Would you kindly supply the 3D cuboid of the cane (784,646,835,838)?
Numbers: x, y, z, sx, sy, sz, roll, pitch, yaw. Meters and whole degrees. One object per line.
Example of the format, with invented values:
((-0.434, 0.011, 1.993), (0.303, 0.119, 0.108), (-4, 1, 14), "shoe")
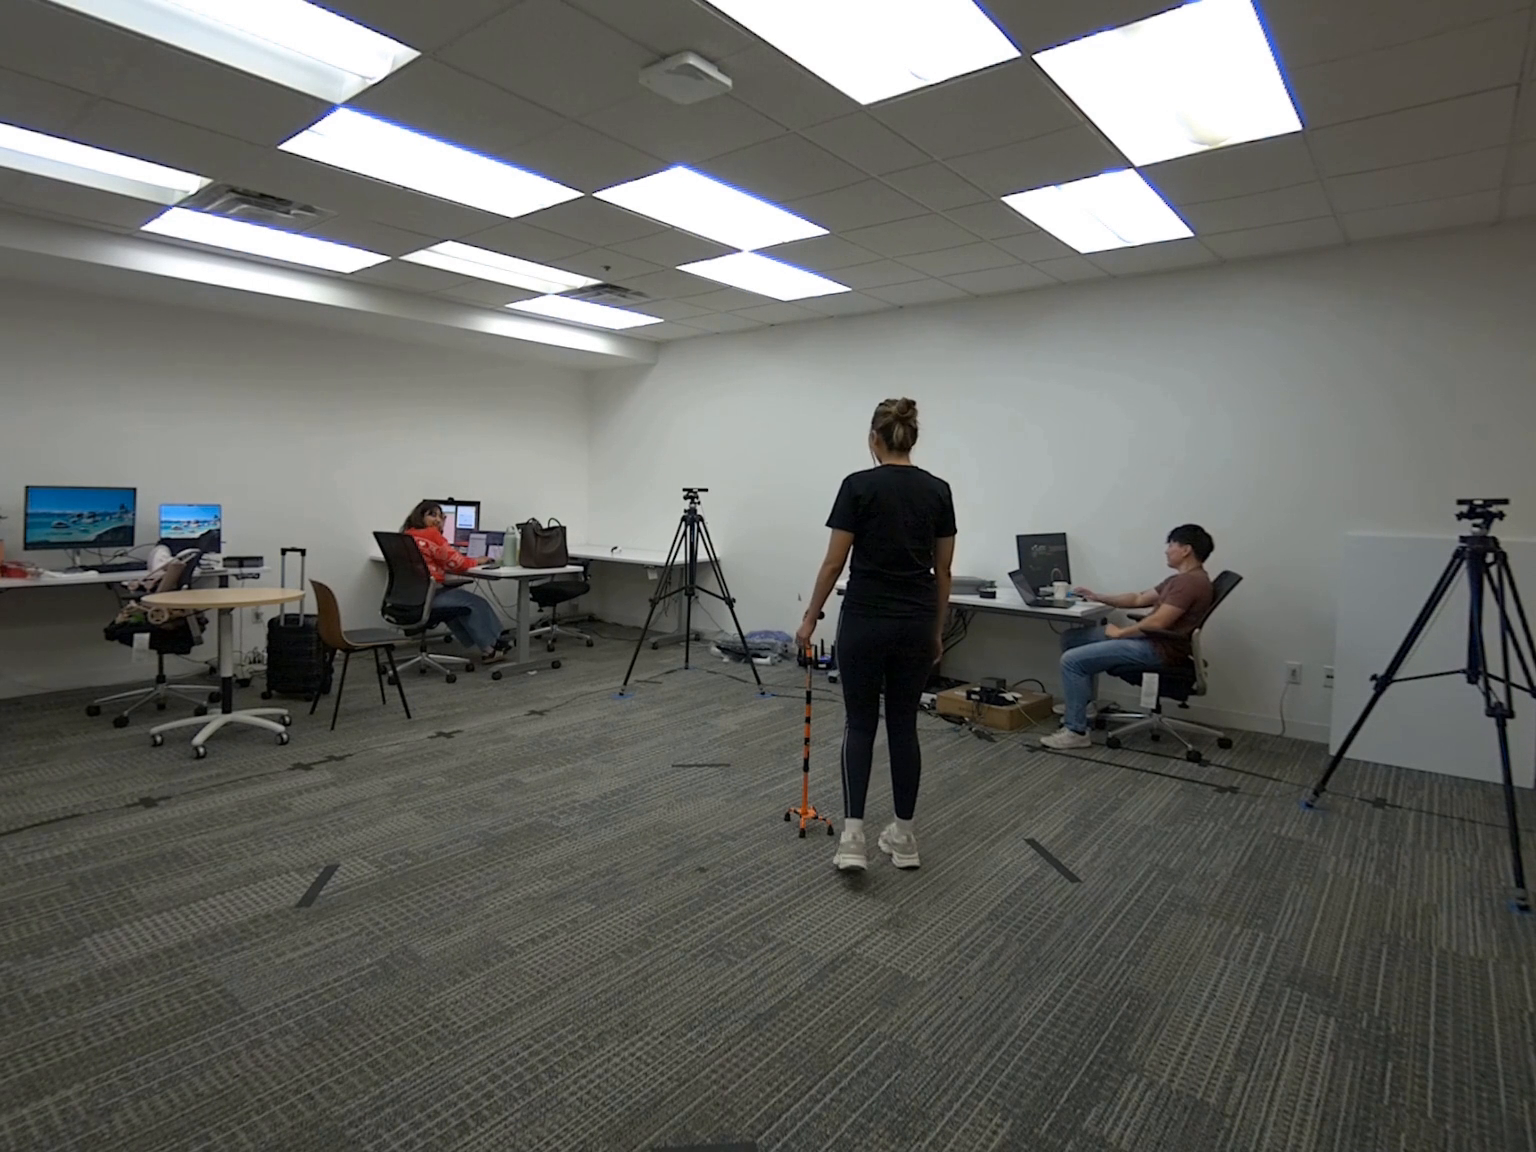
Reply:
((0.170, 0.585, 3.507), (0.149, 0.905, 0.211), (0, 3, -19), "cane")
